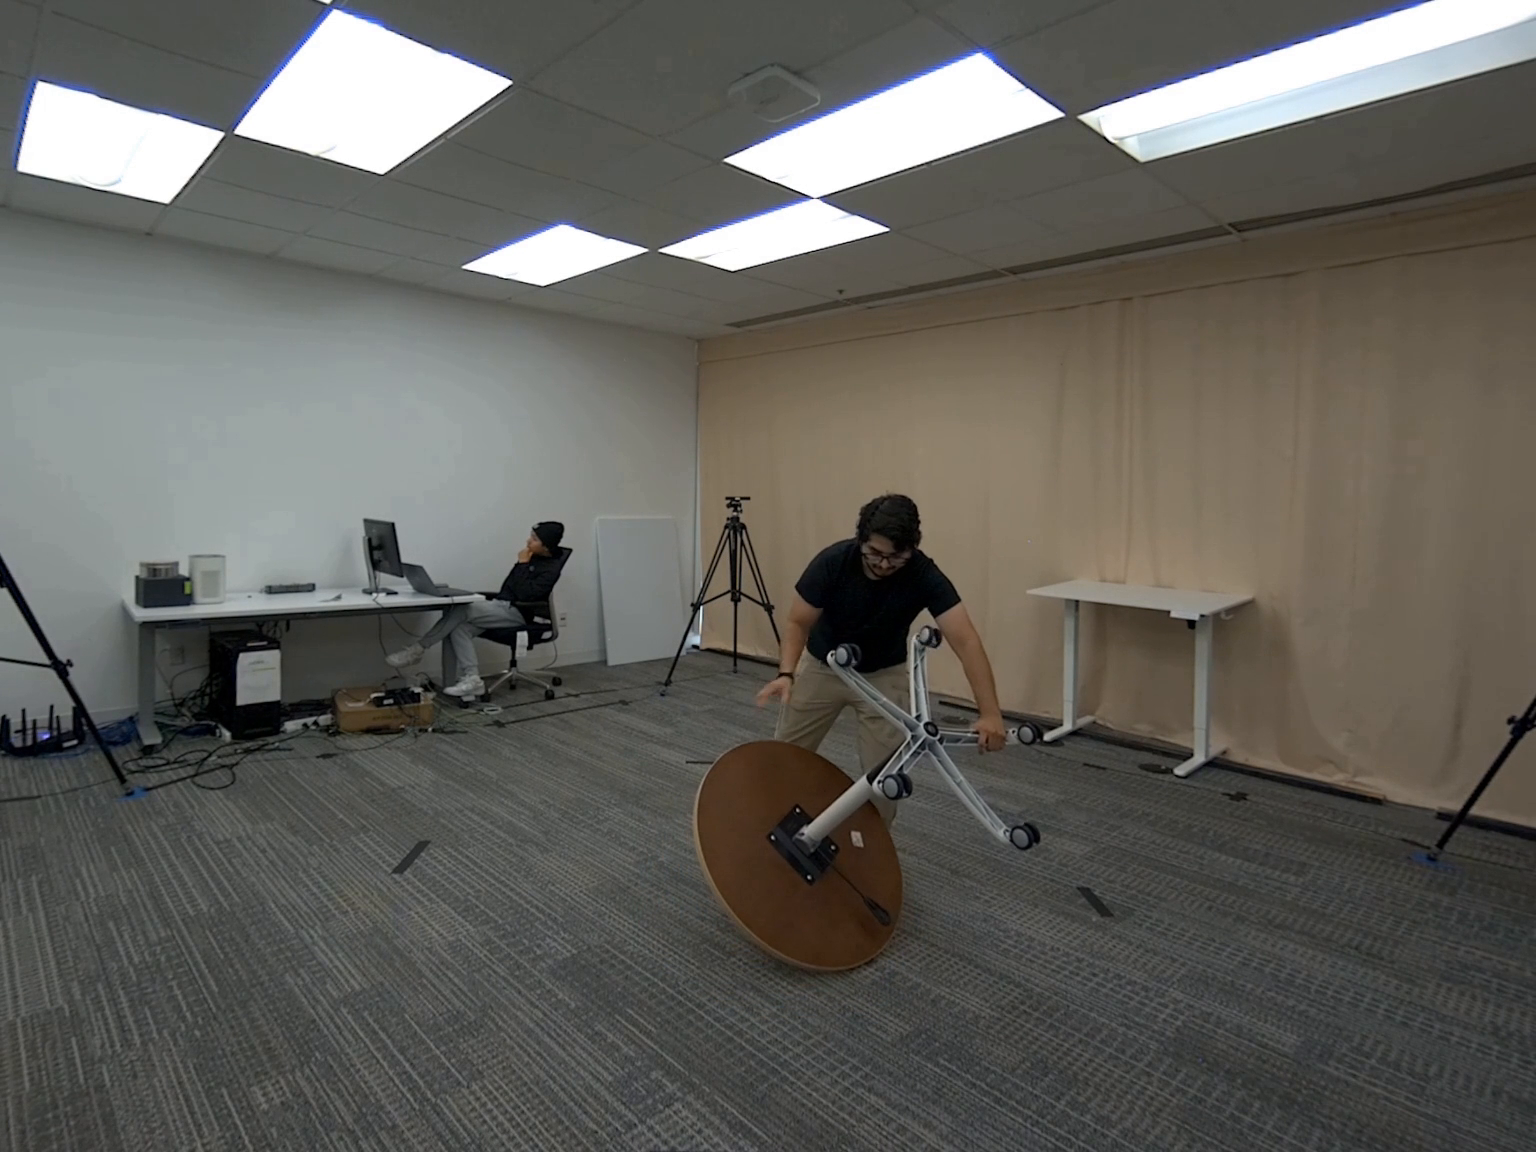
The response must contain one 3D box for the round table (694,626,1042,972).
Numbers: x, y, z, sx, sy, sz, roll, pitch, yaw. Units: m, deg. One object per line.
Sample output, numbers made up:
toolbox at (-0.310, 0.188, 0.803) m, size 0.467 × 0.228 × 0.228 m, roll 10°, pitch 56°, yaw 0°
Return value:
round table at (0.285, 0.628, 2.492) m, size 0.771 × 0.783 × 0.803 m, roll 22°, pitch 38°, yaw -19°
